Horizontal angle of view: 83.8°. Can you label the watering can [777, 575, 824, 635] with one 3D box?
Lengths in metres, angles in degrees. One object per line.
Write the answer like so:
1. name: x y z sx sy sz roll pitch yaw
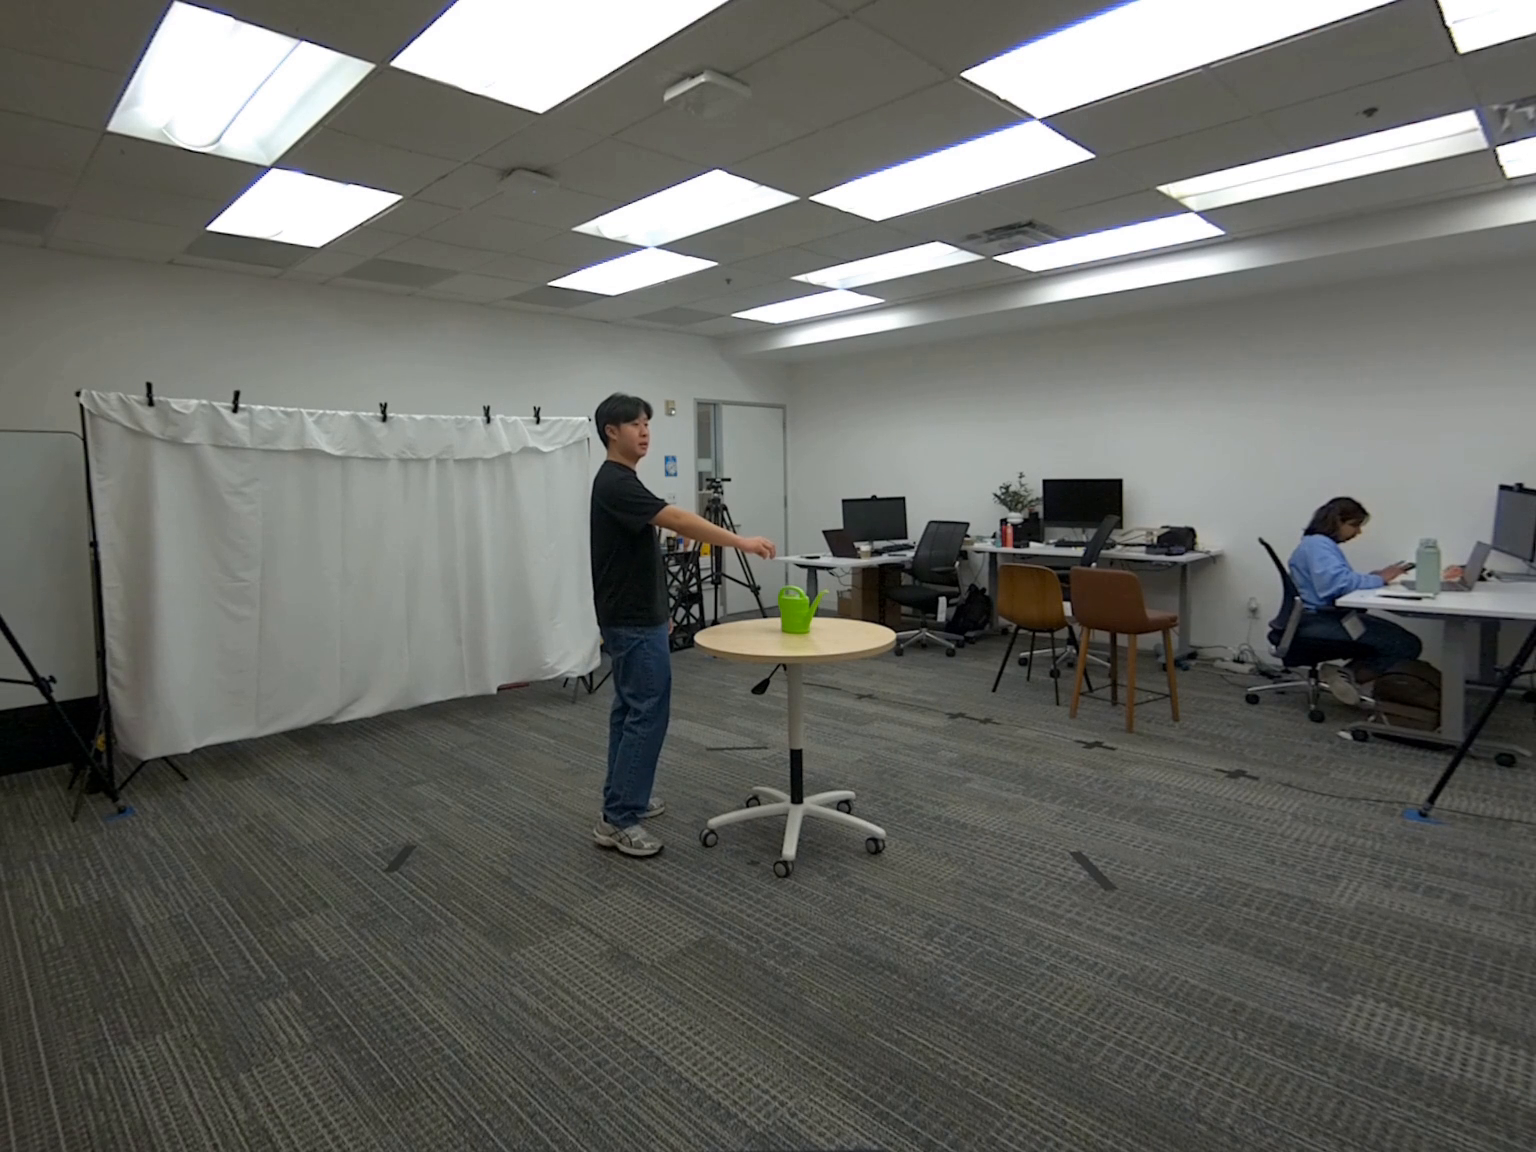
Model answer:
1. watering can: 0.127 0.133 3.288 0.096 0.176 0.285 -5 6 -26
